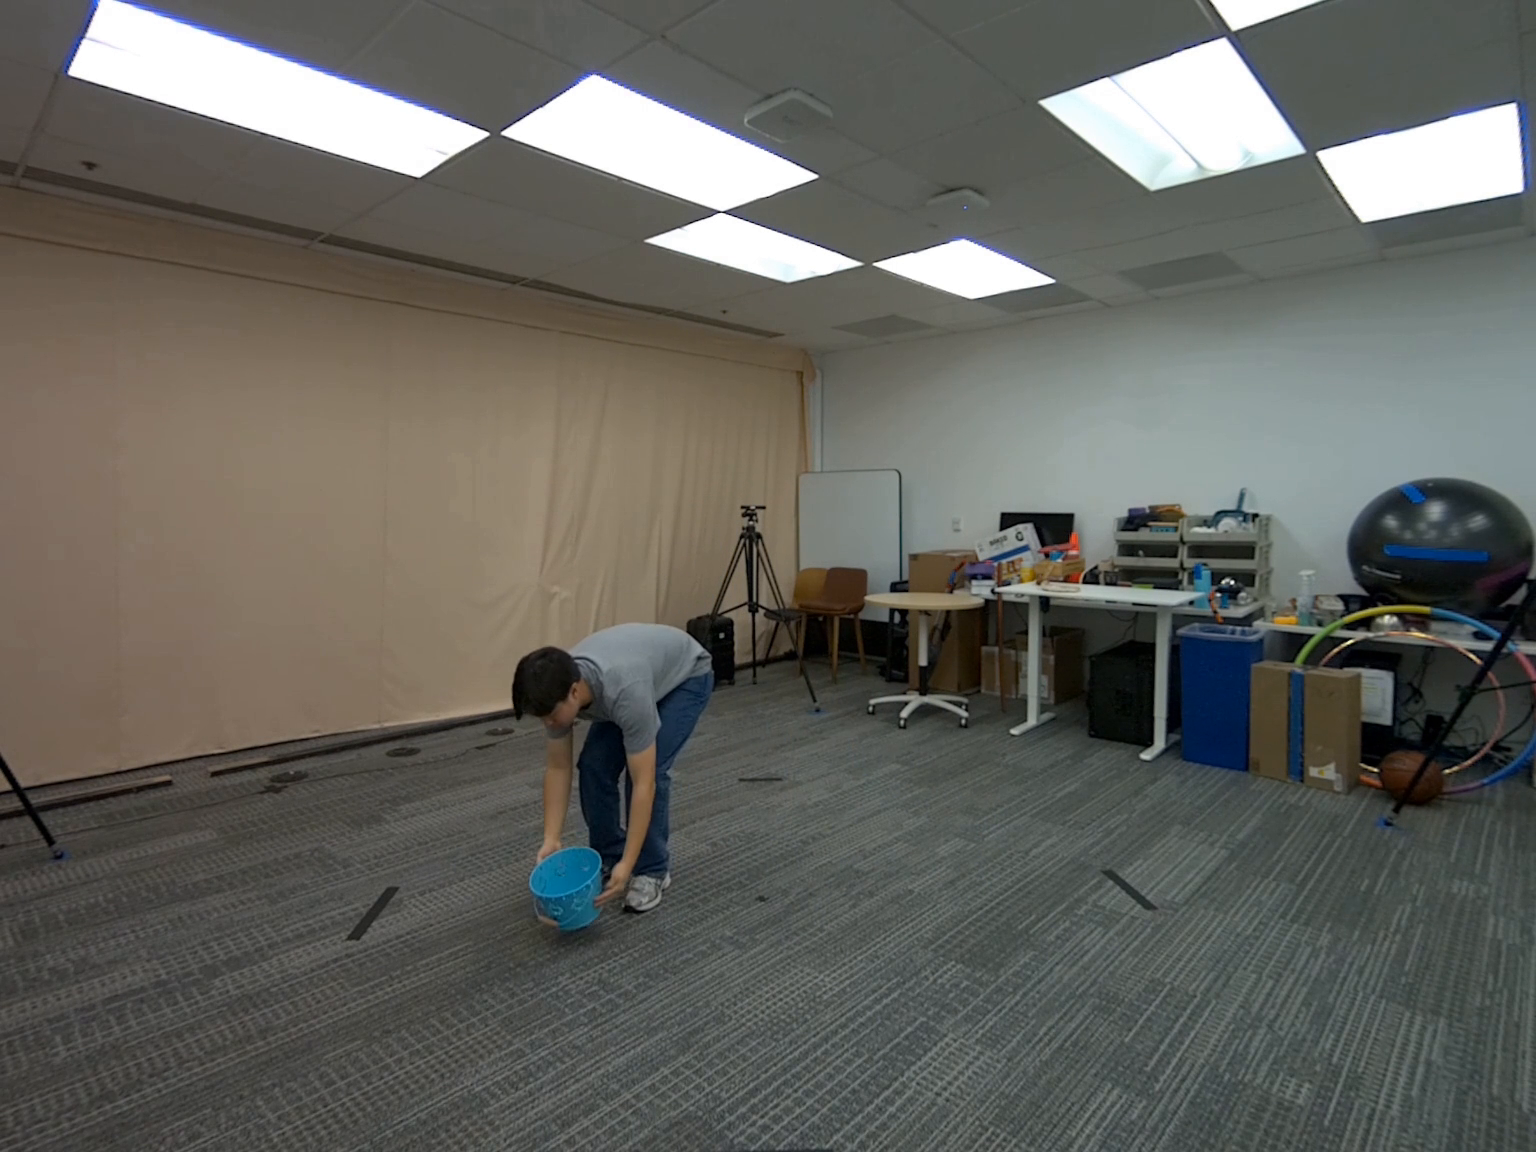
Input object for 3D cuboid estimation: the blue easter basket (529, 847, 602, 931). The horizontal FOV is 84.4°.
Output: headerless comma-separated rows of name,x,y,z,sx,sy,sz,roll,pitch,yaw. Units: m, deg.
blue easter basket,-0.644,0.983,2.705,0.244,0.154,0.246,-10,16,1
